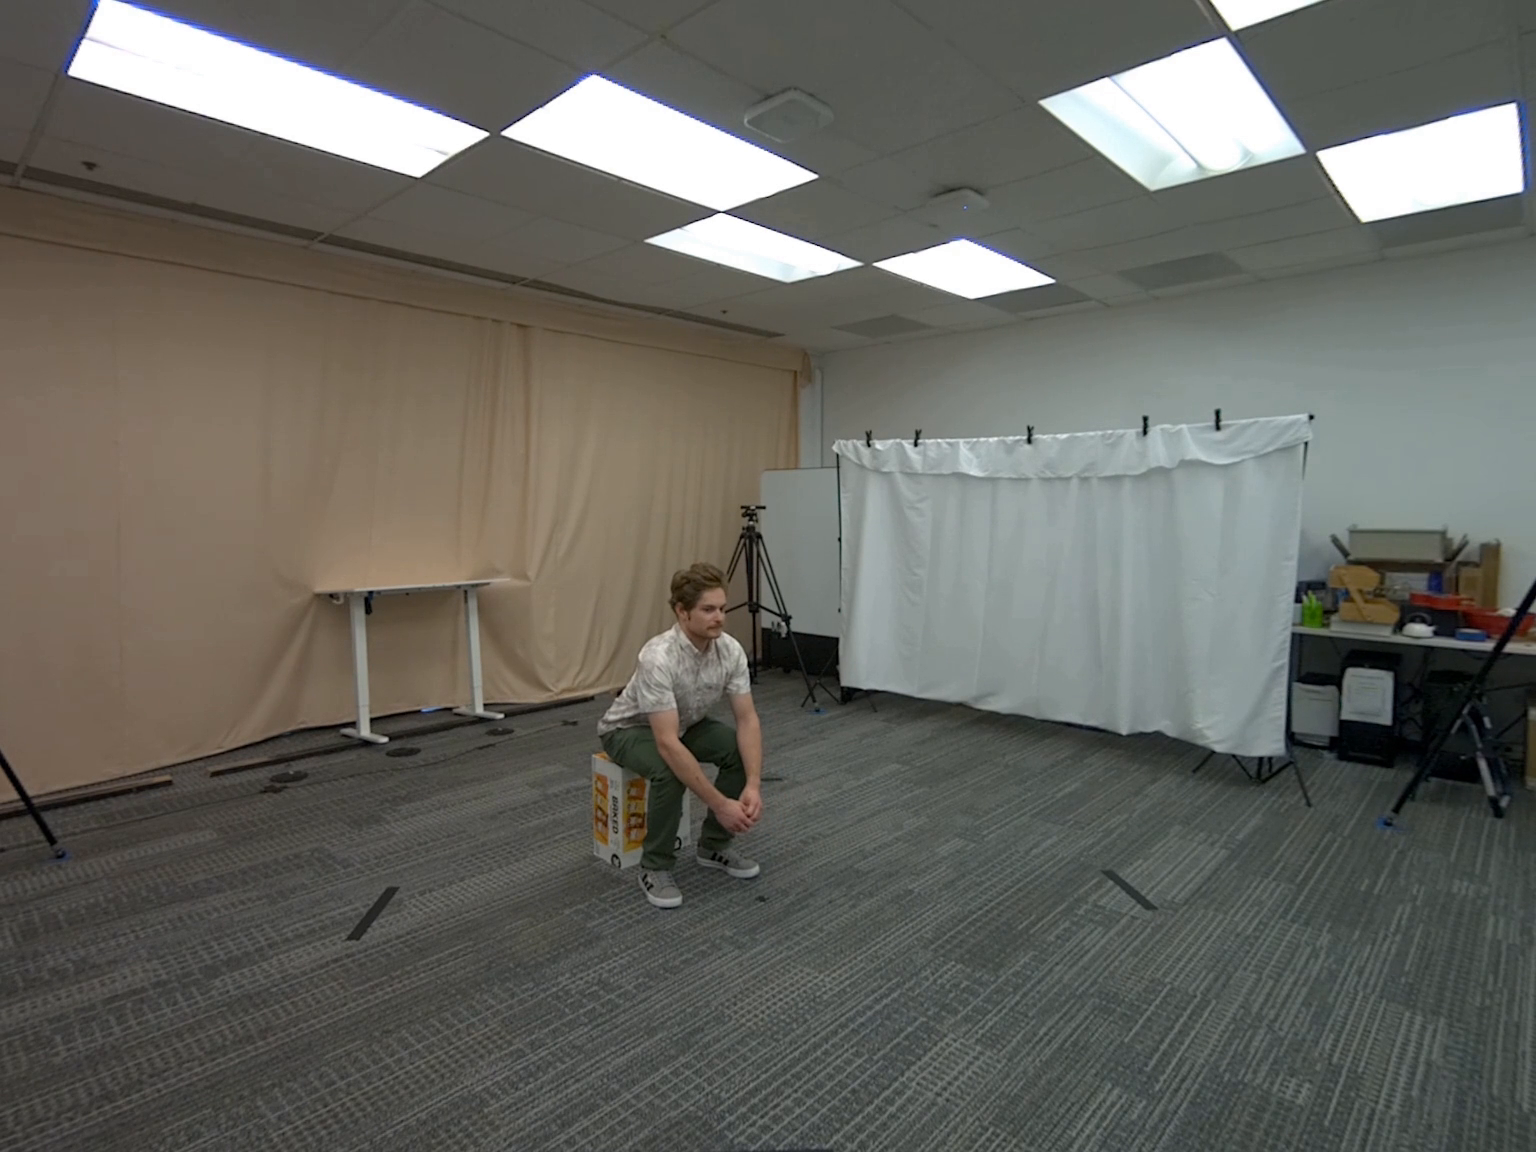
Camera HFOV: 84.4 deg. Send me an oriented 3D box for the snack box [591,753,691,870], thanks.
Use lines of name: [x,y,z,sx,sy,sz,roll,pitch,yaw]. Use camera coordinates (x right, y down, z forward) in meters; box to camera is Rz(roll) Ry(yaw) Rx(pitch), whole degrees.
snack box: [-0.515,0.912,3.408,0.330,0.404,0.212,-5,6,-44]
